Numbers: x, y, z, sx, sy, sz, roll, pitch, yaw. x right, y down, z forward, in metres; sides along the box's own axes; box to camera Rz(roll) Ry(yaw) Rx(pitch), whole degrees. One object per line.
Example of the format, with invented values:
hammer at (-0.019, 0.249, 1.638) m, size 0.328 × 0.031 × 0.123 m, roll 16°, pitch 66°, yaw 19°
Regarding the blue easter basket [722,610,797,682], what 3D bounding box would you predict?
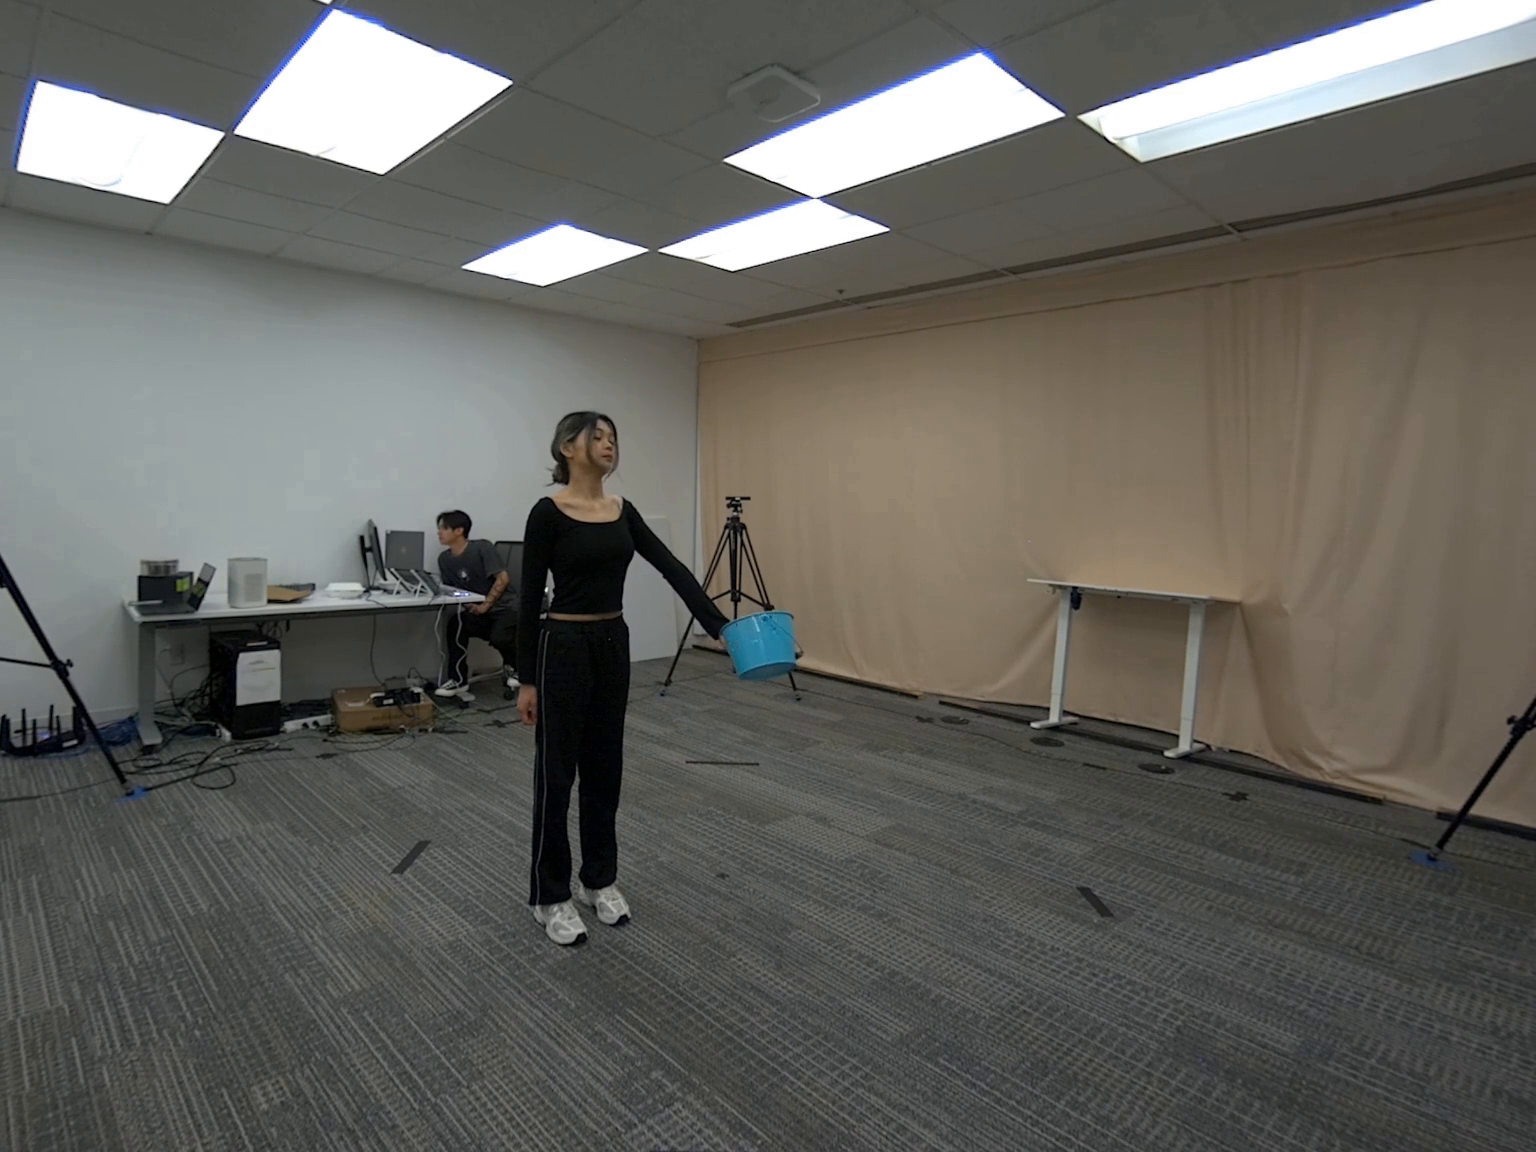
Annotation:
blue easter basket at (-0.029, 0.223, 2.577) m, size 0.243 × 0.159 × 0.240 m, roll -10°, pitch -21°, yaw -6°
